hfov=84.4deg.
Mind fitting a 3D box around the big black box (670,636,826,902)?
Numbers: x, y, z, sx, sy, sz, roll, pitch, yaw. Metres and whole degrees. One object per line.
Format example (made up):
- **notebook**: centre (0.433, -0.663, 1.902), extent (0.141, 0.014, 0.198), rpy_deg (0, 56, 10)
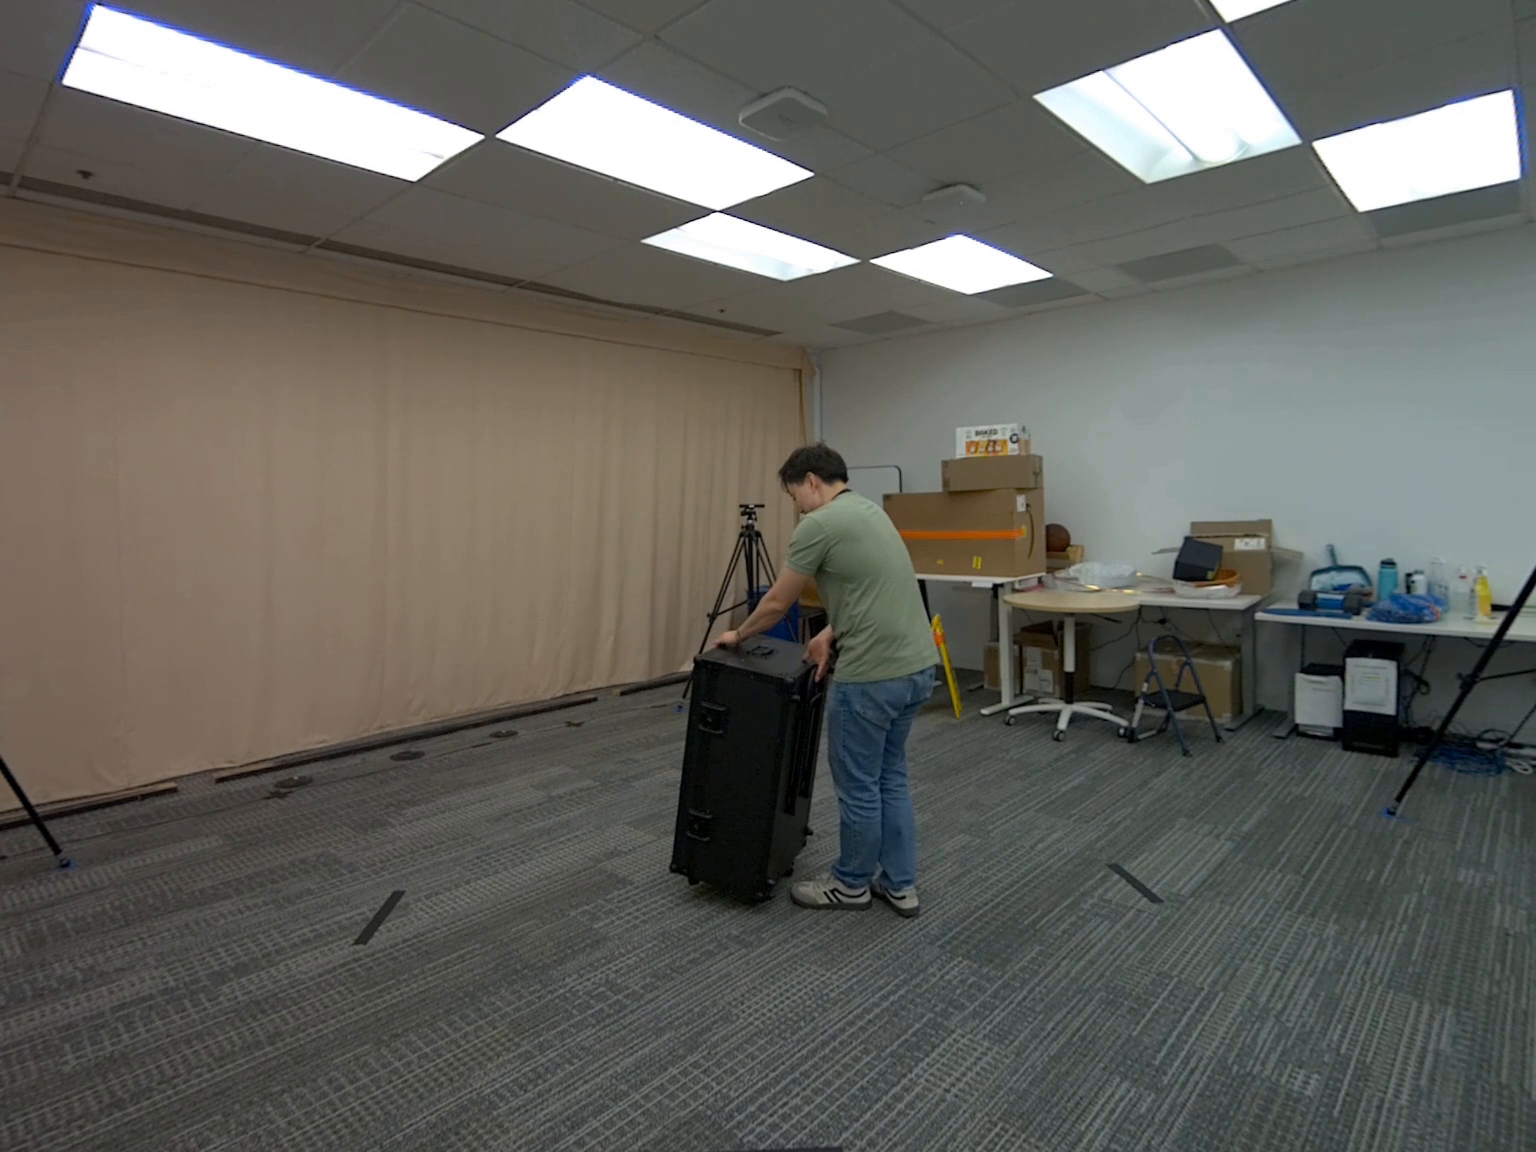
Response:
- **big black box**: centre (-0.043, 0.693, 3.060), extent (0.406, 0.858, 0.511), rpy_deg (11, 10, 20)
